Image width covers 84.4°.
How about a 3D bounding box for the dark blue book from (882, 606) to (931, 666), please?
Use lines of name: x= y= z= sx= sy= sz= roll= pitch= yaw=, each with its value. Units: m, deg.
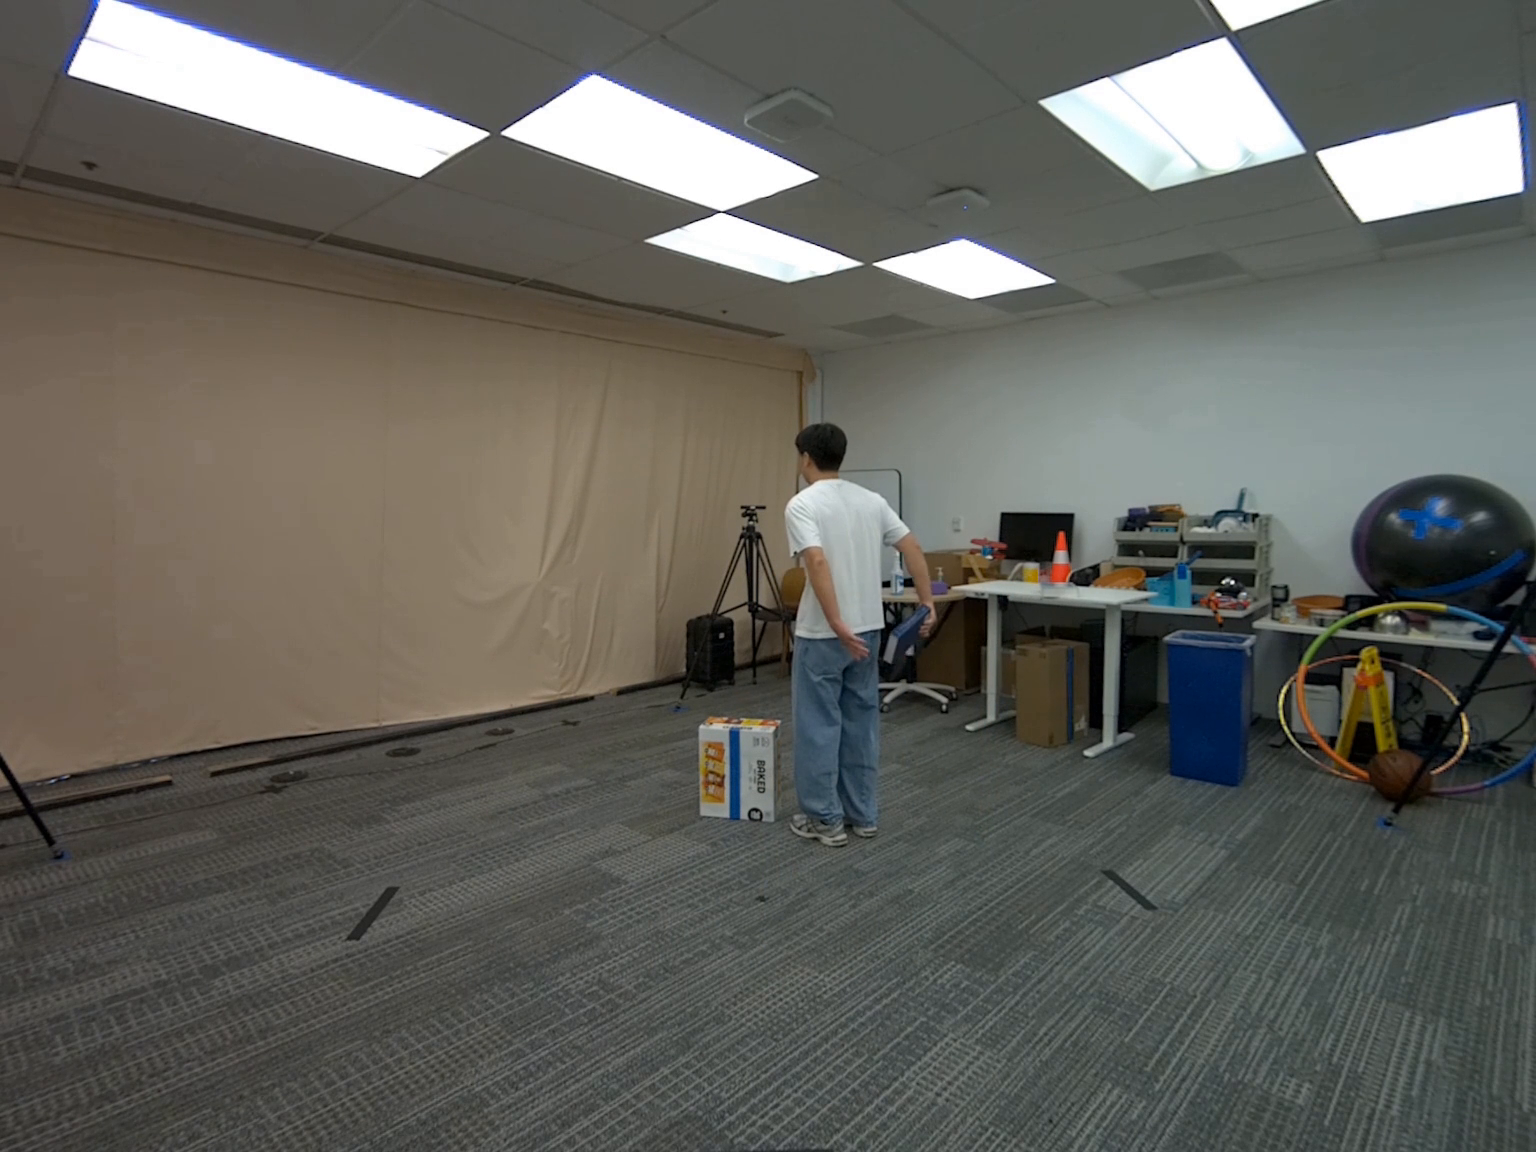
dark blue book: x=0.561 y=0.233 z=3.445 sx=0.046 sy=0.161 sz=0.241 roll=32 pitch=49 yaw=26
